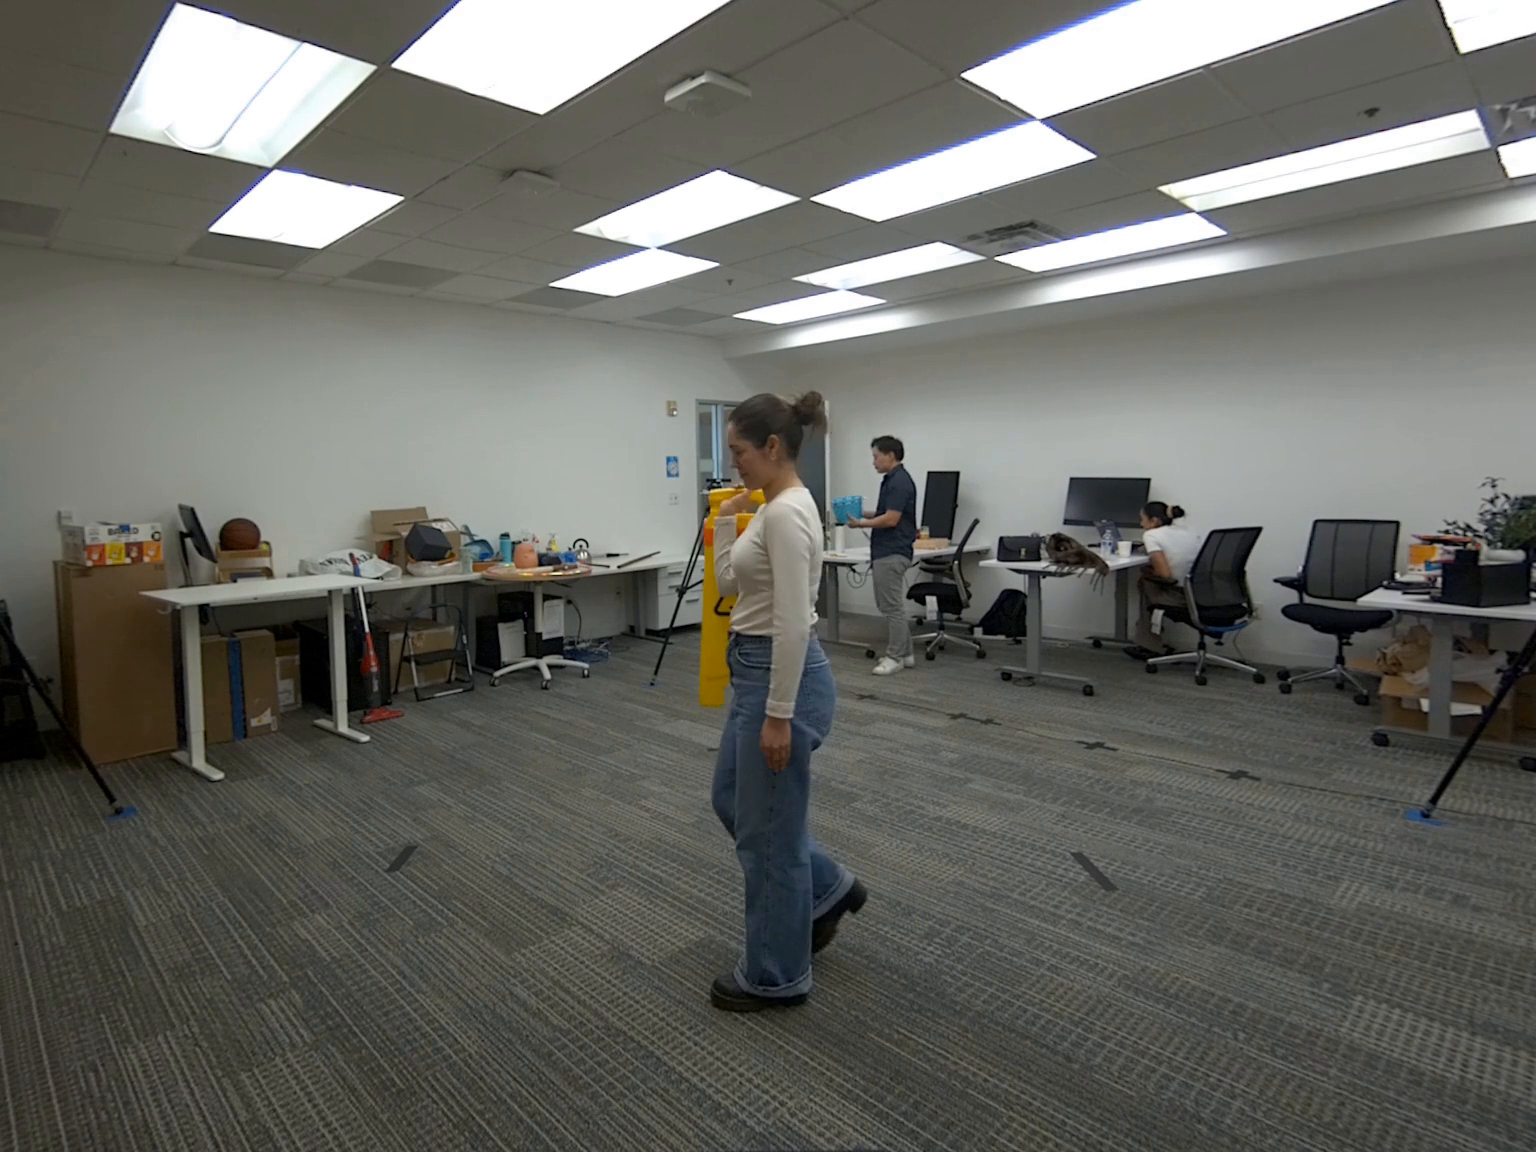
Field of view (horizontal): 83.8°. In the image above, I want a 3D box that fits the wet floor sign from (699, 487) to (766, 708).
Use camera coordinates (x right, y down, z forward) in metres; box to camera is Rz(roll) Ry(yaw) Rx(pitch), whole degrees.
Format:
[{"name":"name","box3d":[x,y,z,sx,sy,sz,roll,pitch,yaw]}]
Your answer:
[{"name":"wet floor sign","box3d":[-0.046,0.051,2.613,0.285,0.636,0.291,1,17,11]}]
